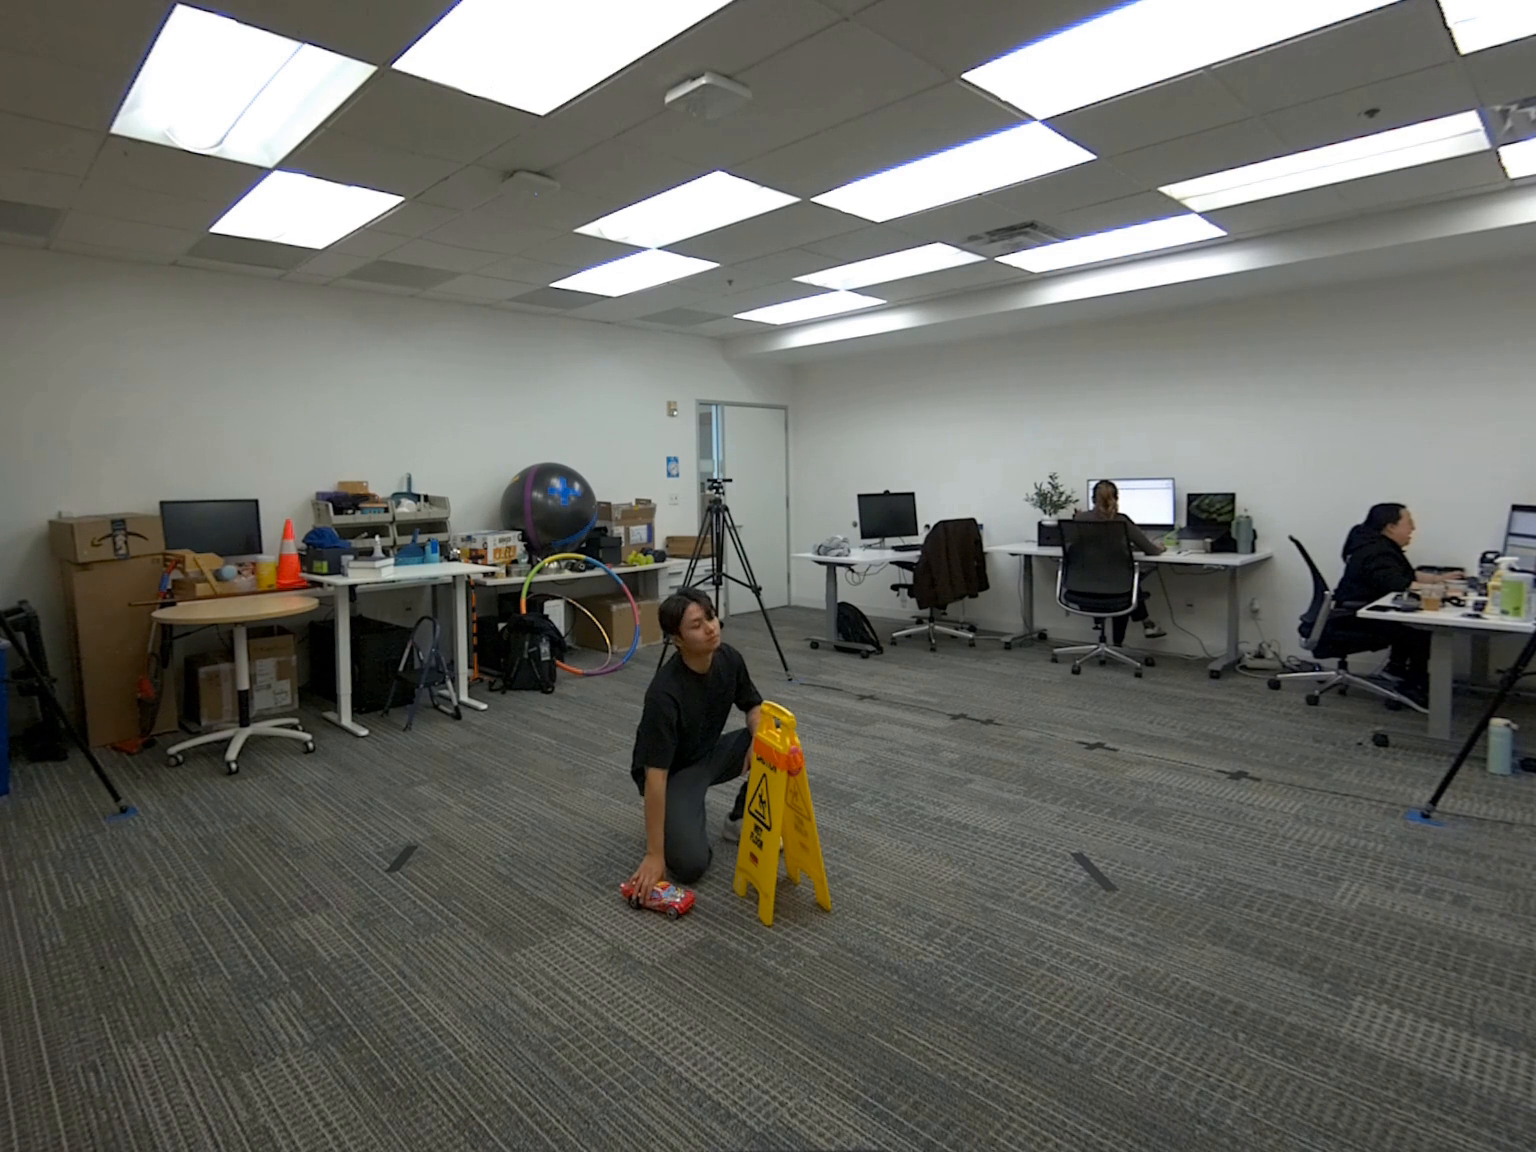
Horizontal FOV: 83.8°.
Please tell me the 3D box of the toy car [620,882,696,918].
[{"bbox_3d":[-0.367,1.060,2.818,0.261,0.082,0.128,13,13,26],"label":"toy car"}]
